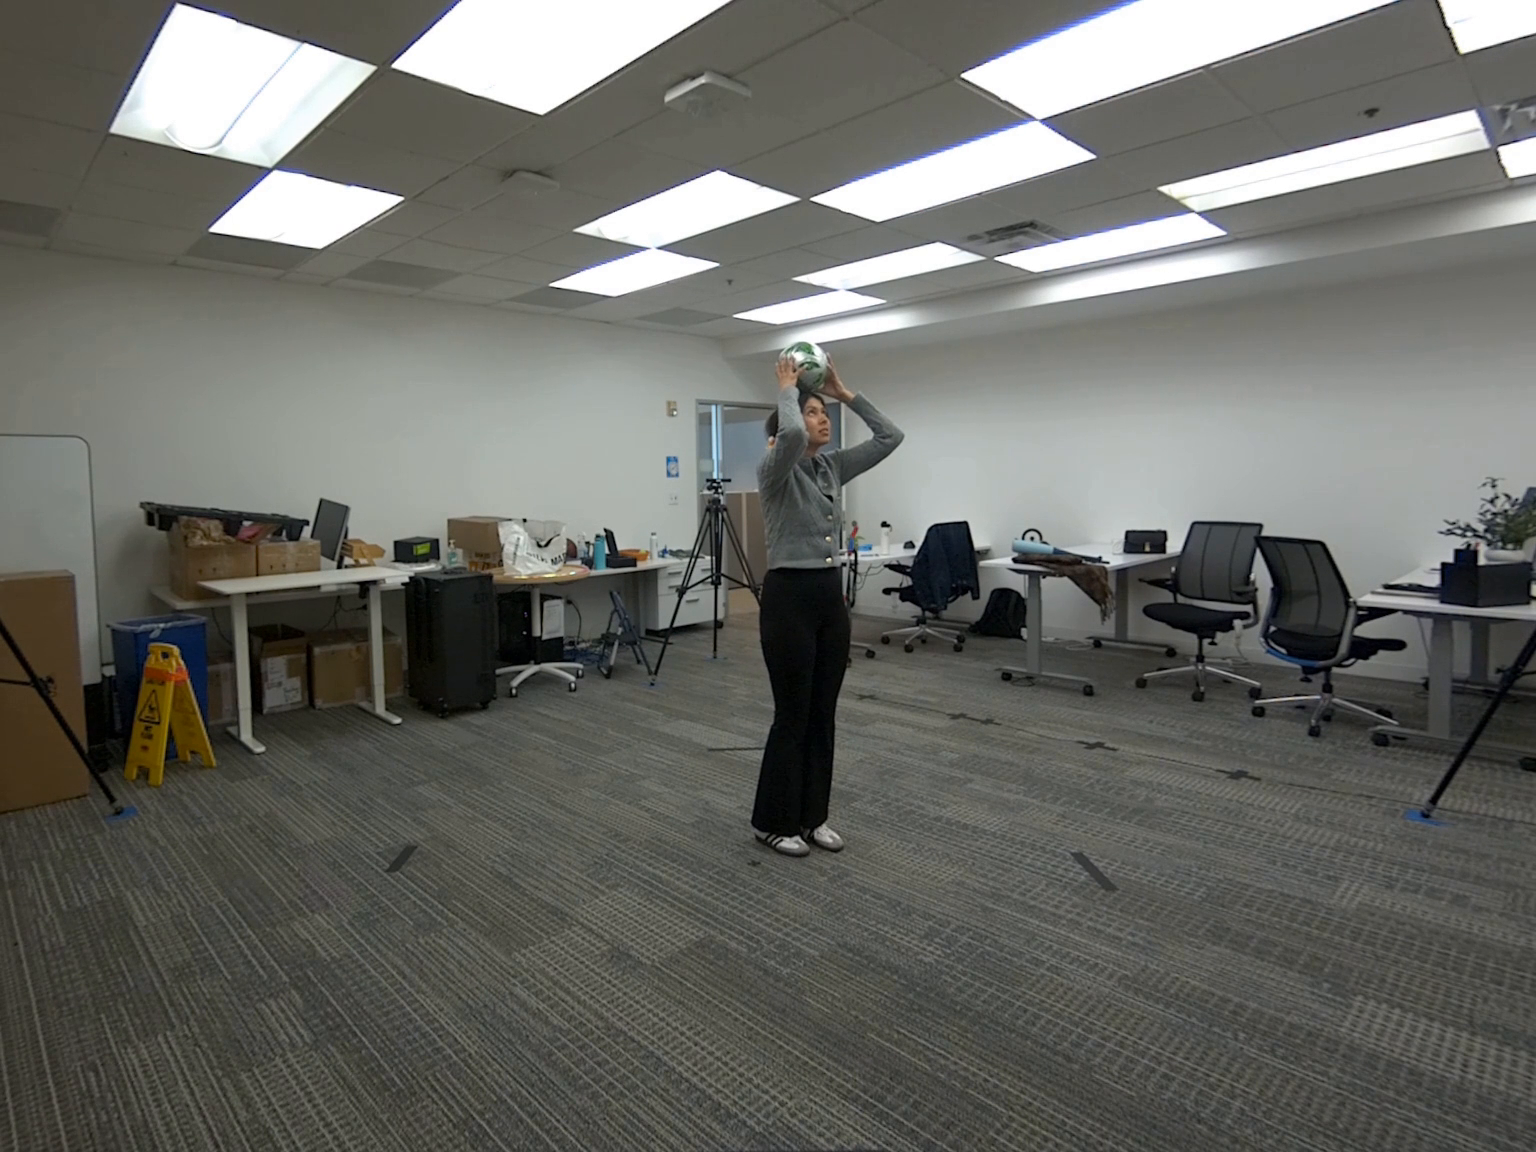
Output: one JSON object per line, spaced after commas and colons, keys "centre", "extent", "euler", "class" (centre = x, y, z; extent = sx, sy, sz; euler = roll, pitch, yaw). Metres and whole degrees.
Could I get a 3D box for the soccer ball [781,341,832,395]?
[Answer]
{"centre": [0.126, -0.769, 3.149], "extent": [0.187, 0.187, 0.188], "euler": [-1, 5, -2], "class": "soccer ball"}
